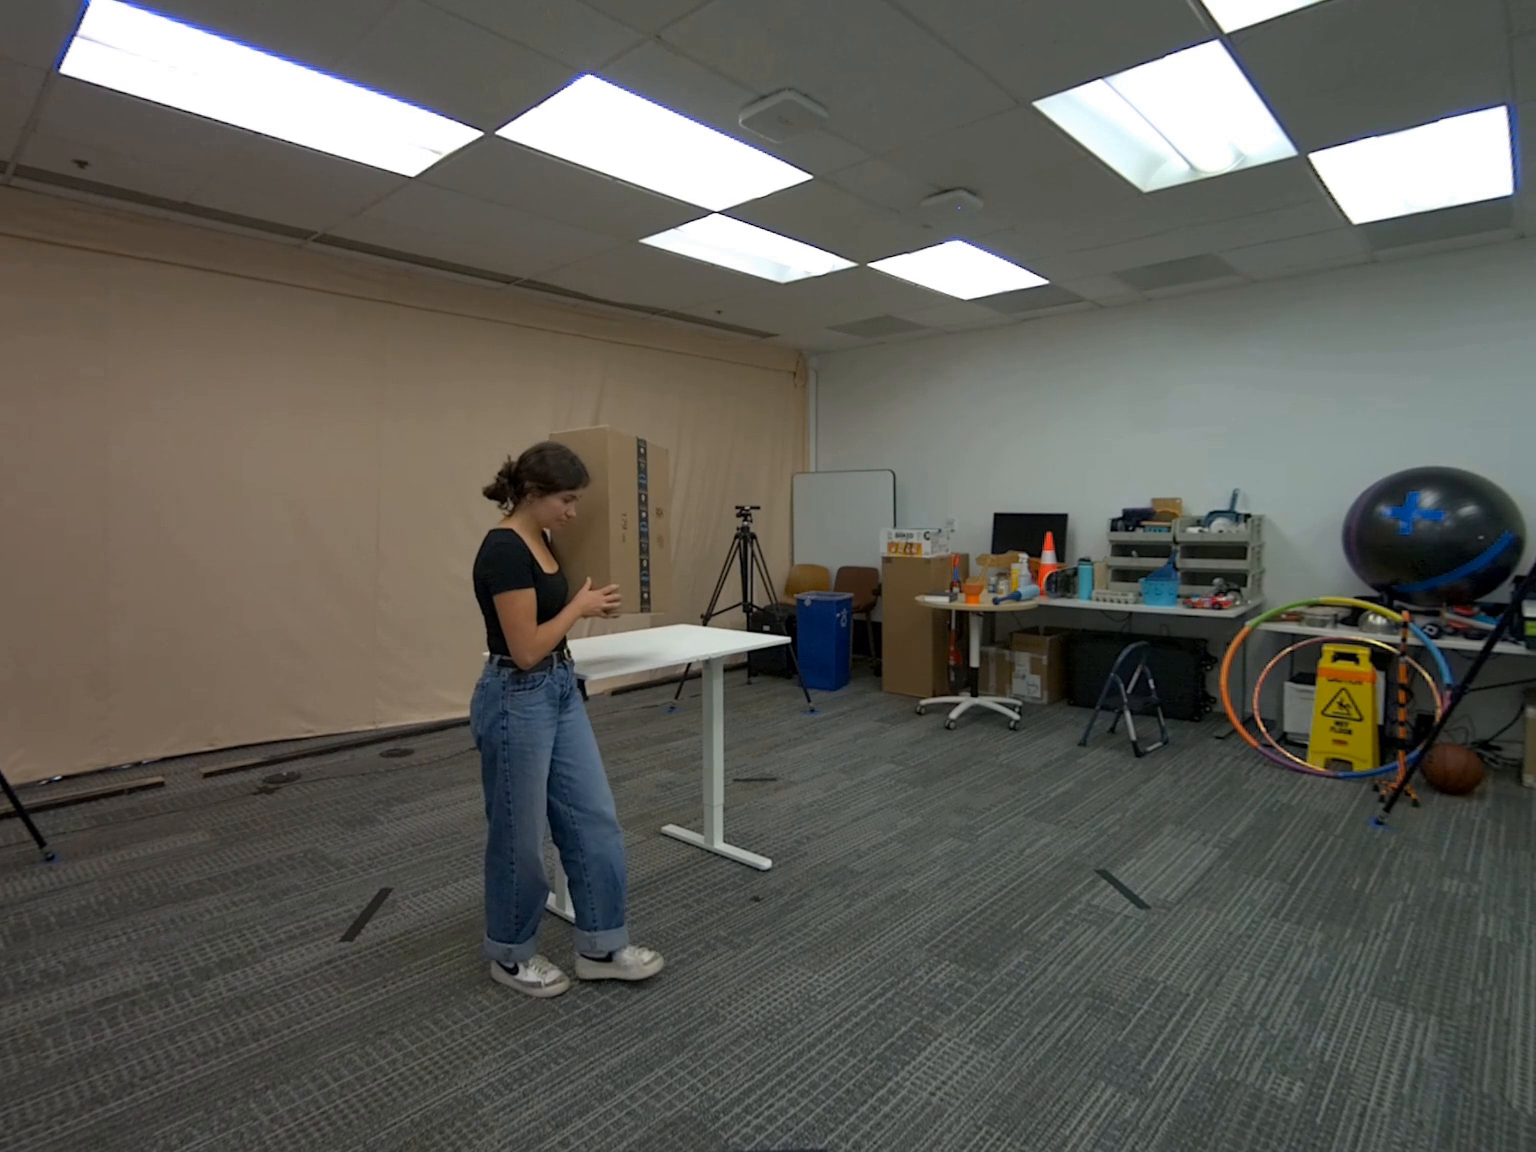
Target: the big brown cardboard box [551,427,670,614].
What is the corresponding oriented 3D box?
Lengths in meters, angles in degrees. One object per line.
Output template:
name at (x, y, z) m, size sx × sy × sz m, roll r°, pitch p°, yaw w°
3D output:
big brown cardboard box at (-0.497, -0.155, 2.717) m, size 0.238 × 0.591 × 0.407 m, roll -3°, pitch -5°, yaw 20°
